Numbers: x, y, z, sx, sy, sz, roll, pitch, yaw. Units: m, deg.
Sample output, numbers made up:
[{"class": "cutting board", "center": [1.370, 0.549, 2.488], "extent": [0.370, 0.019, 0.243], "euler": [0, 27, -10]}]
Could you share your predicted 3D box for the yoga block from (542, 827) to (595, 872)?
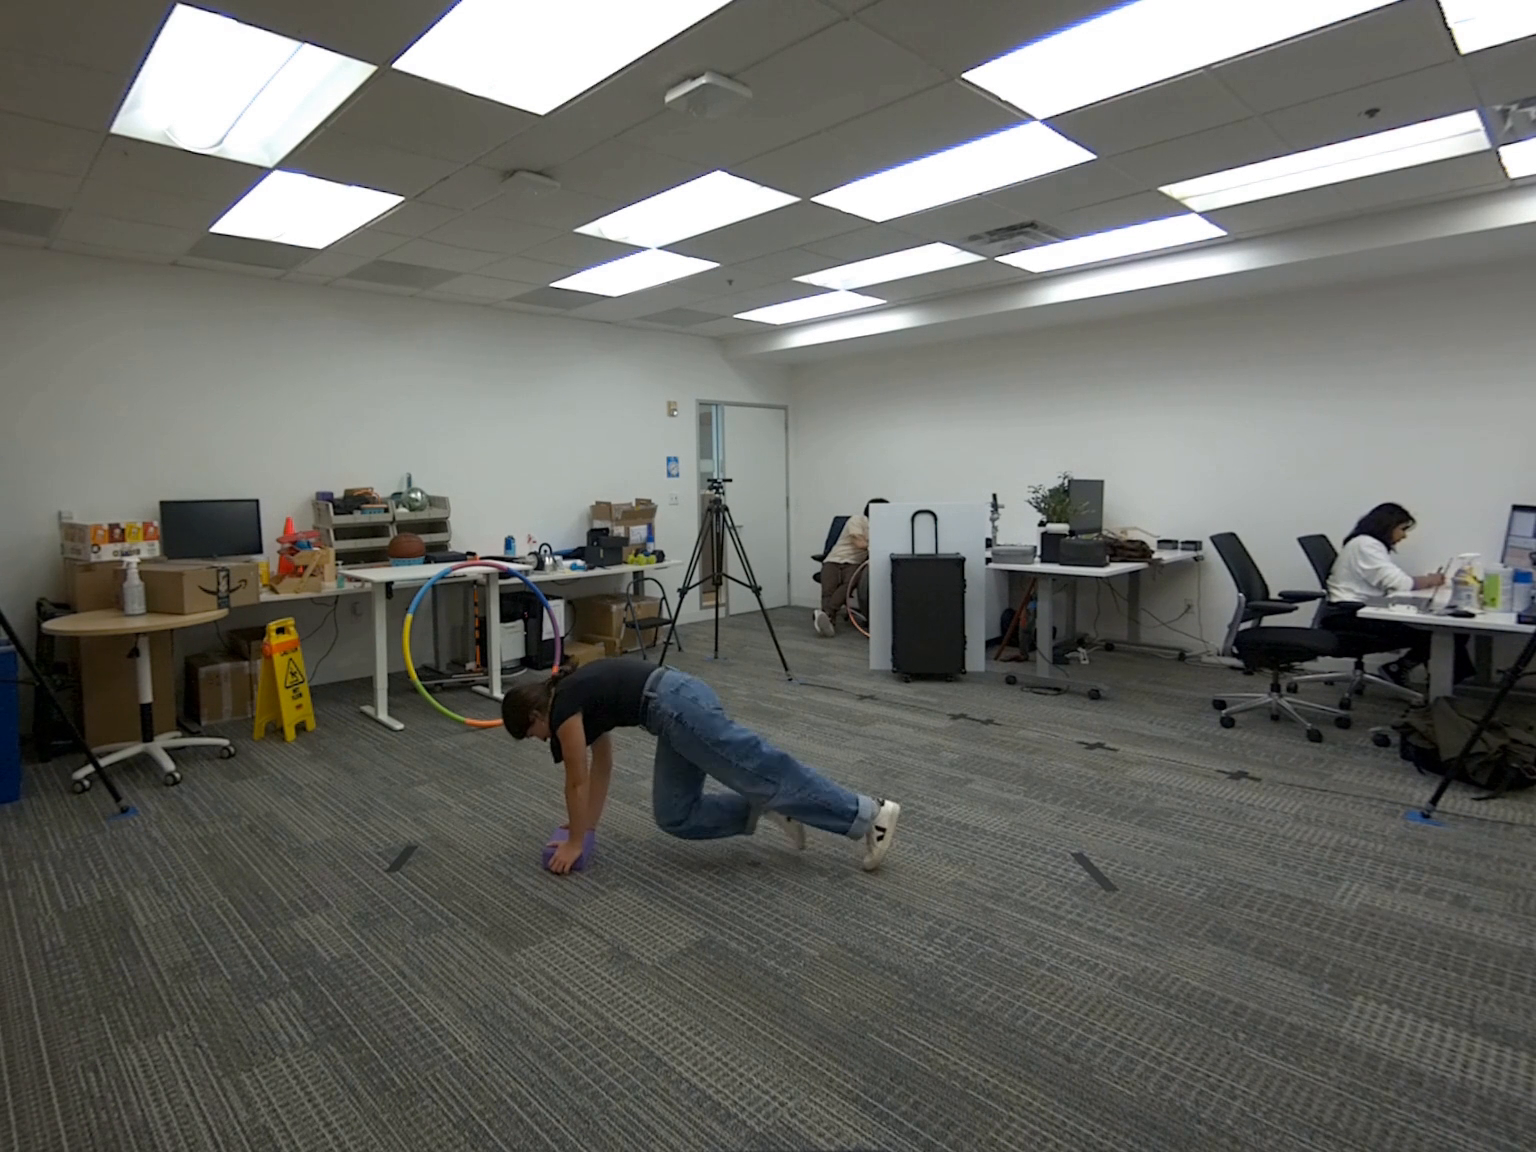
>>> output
[{"class": "yoga block", "center": [-0.743, 1.011, 3.200], "extent": [0.149, 0.076, 0.230], "euler": [1, 7, 0]}]
